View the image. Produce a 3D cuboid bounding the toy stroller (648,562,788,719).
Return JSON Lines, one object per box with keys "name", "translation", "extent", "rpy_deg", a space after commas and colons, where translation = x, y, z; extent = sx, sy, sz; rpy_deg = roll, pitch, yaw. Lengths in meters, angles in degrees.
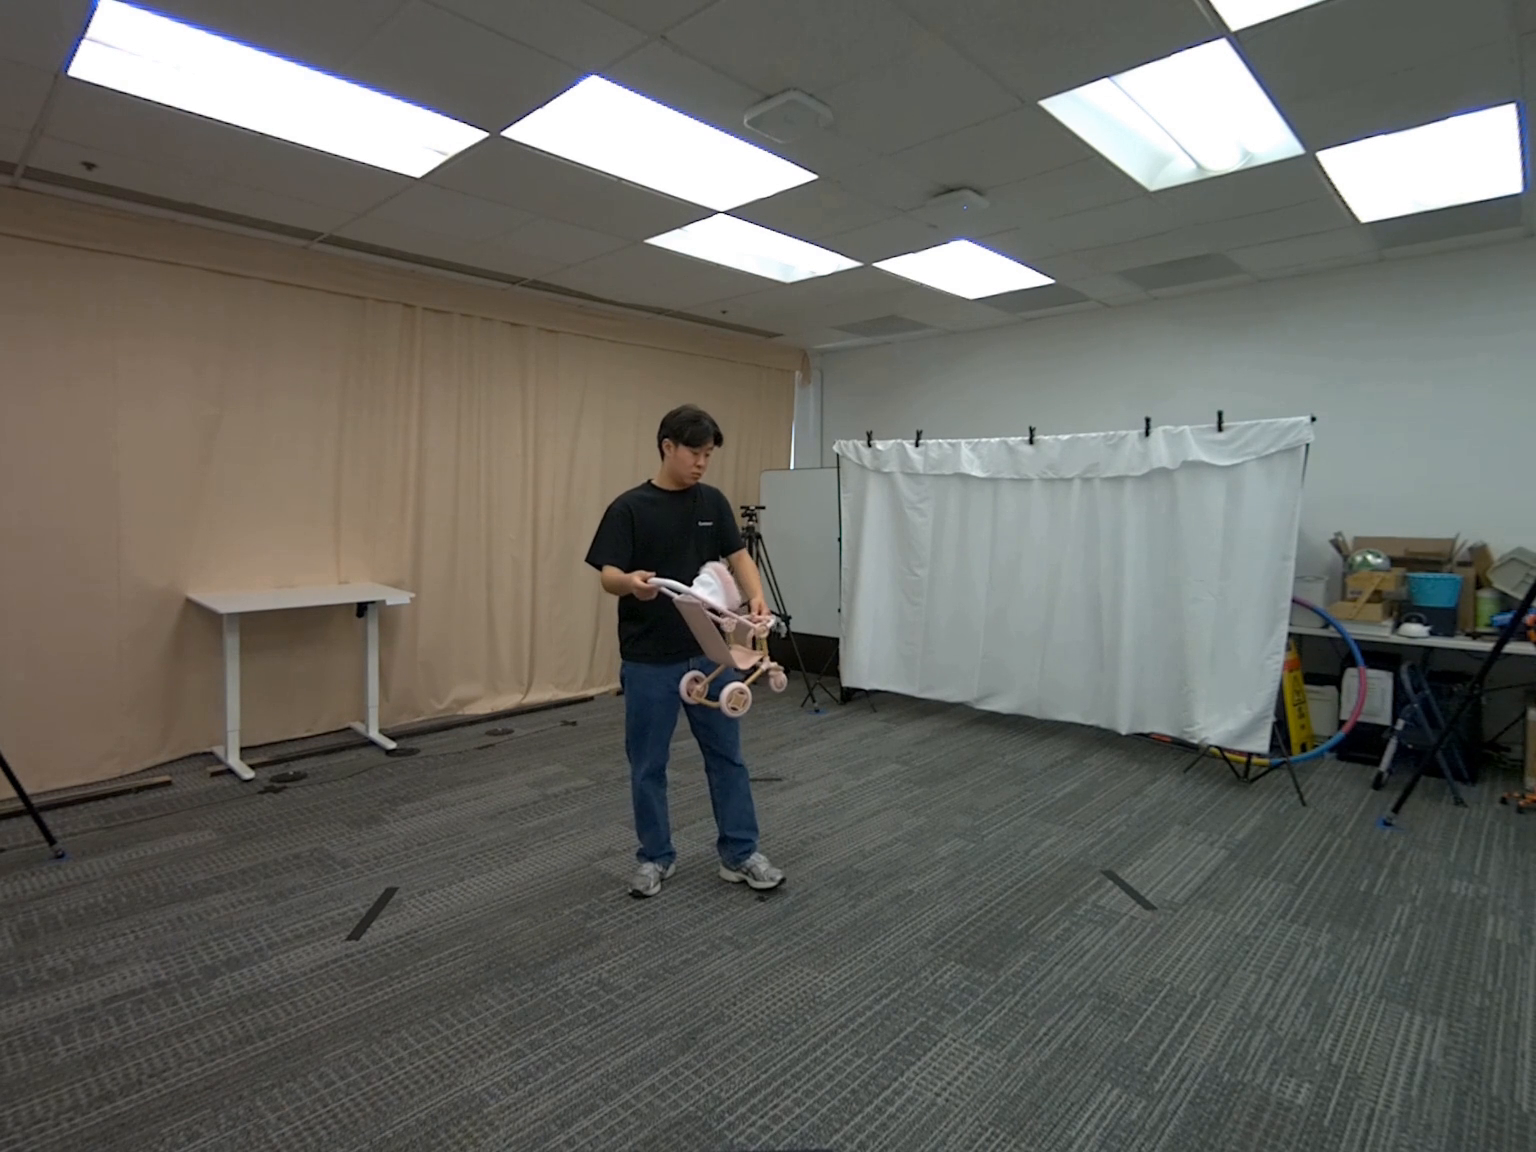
{"name": "toy stroller", "translation": [-0.128, 0.195, 2.711], "extent": [0.336, 0.529, 0.289], "rpy_deg": [-25, 13, -26]}
